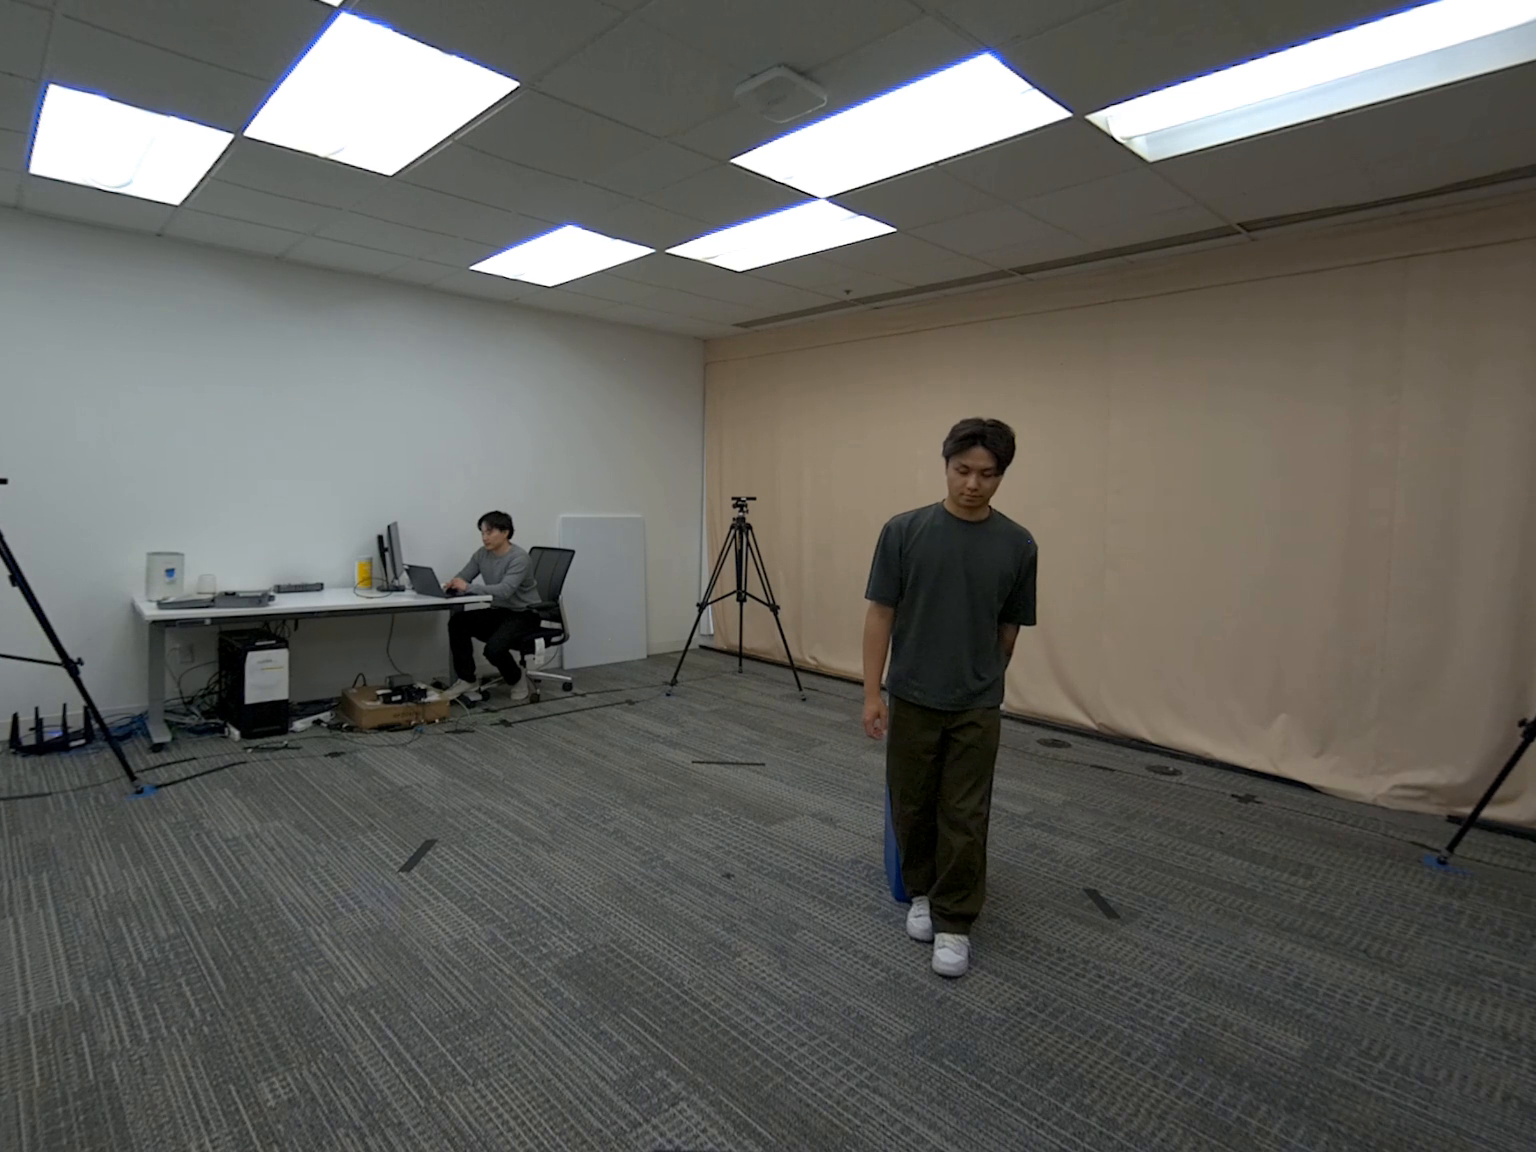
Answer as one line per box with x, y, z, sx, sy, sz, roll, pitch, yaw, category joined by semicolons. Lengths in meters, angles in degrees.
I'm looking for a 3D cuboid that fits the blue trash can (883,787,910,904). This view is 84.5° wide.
0.616;0.775;3.048;0.375;0.711;0.378;2;5;2;blue trash can
